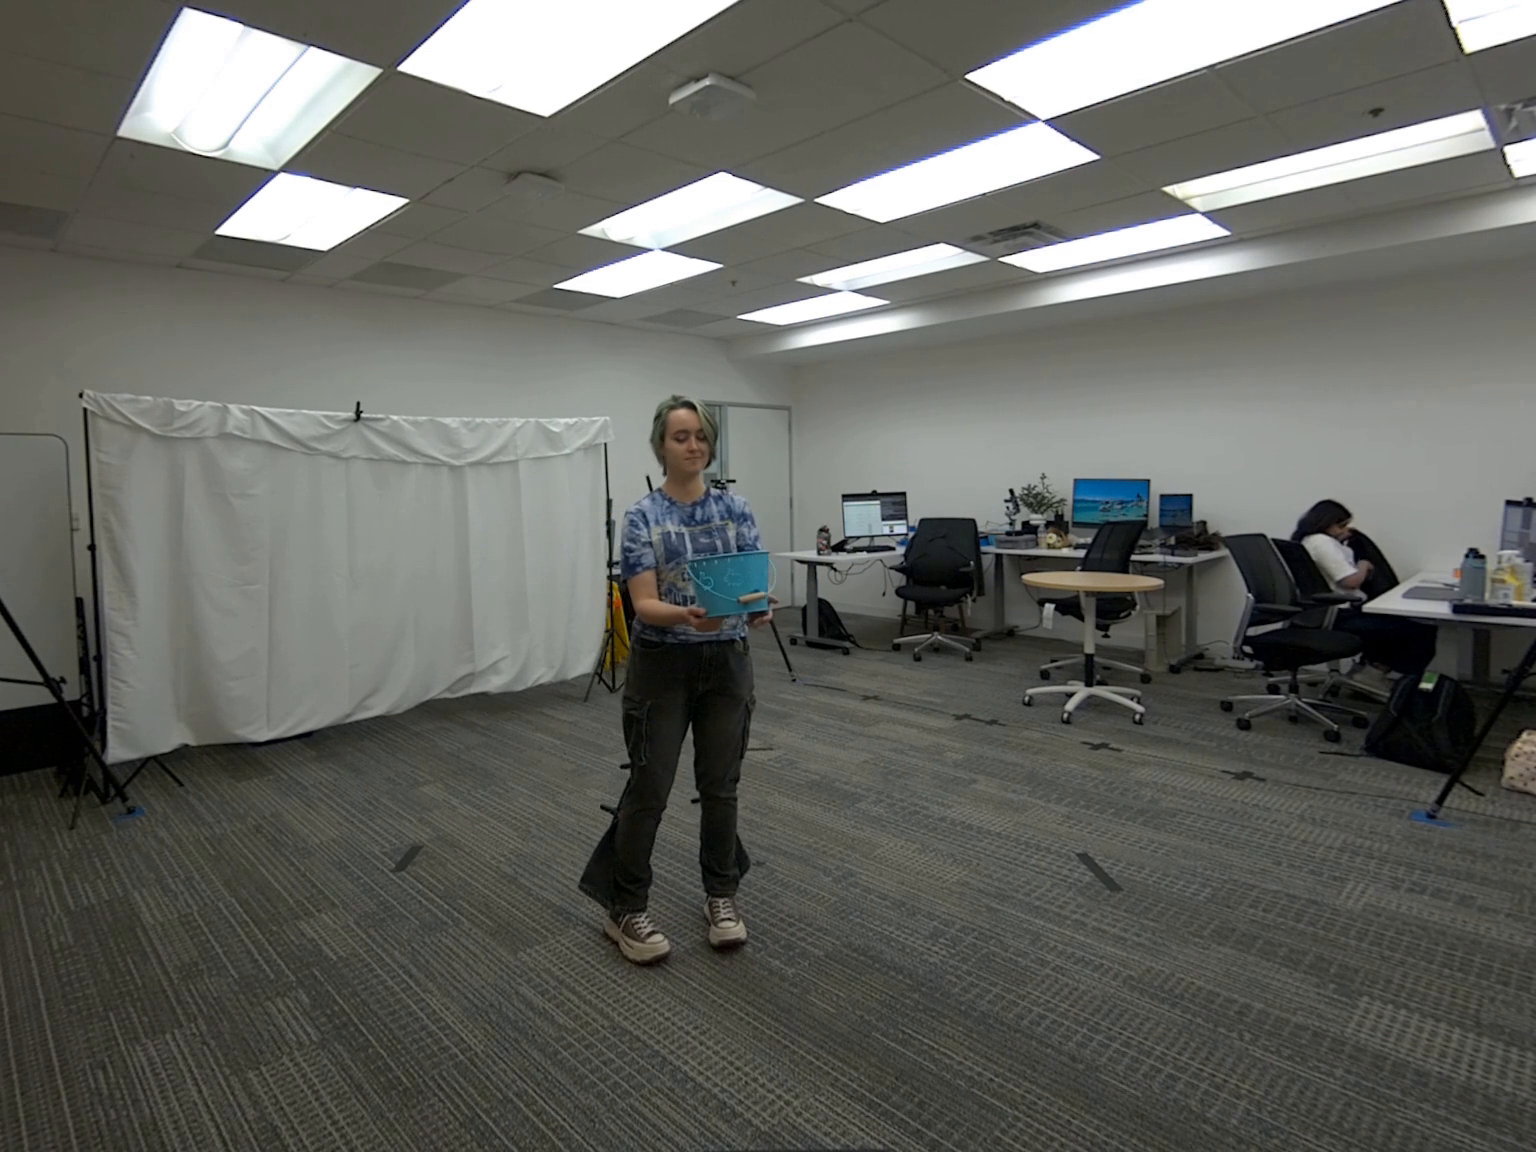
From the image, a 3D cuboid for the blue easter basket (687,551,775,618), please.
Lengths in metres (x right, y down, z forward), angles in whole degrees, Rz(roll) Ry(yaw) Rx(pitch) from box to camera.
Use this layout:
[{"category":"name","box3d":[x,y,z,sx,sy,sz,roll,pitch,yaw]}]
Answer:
[{"category":"blue easter basket","box3d":[-0.106,0.029,2.256,0.243,0.156,0.243,-6,-1,-2]}]
